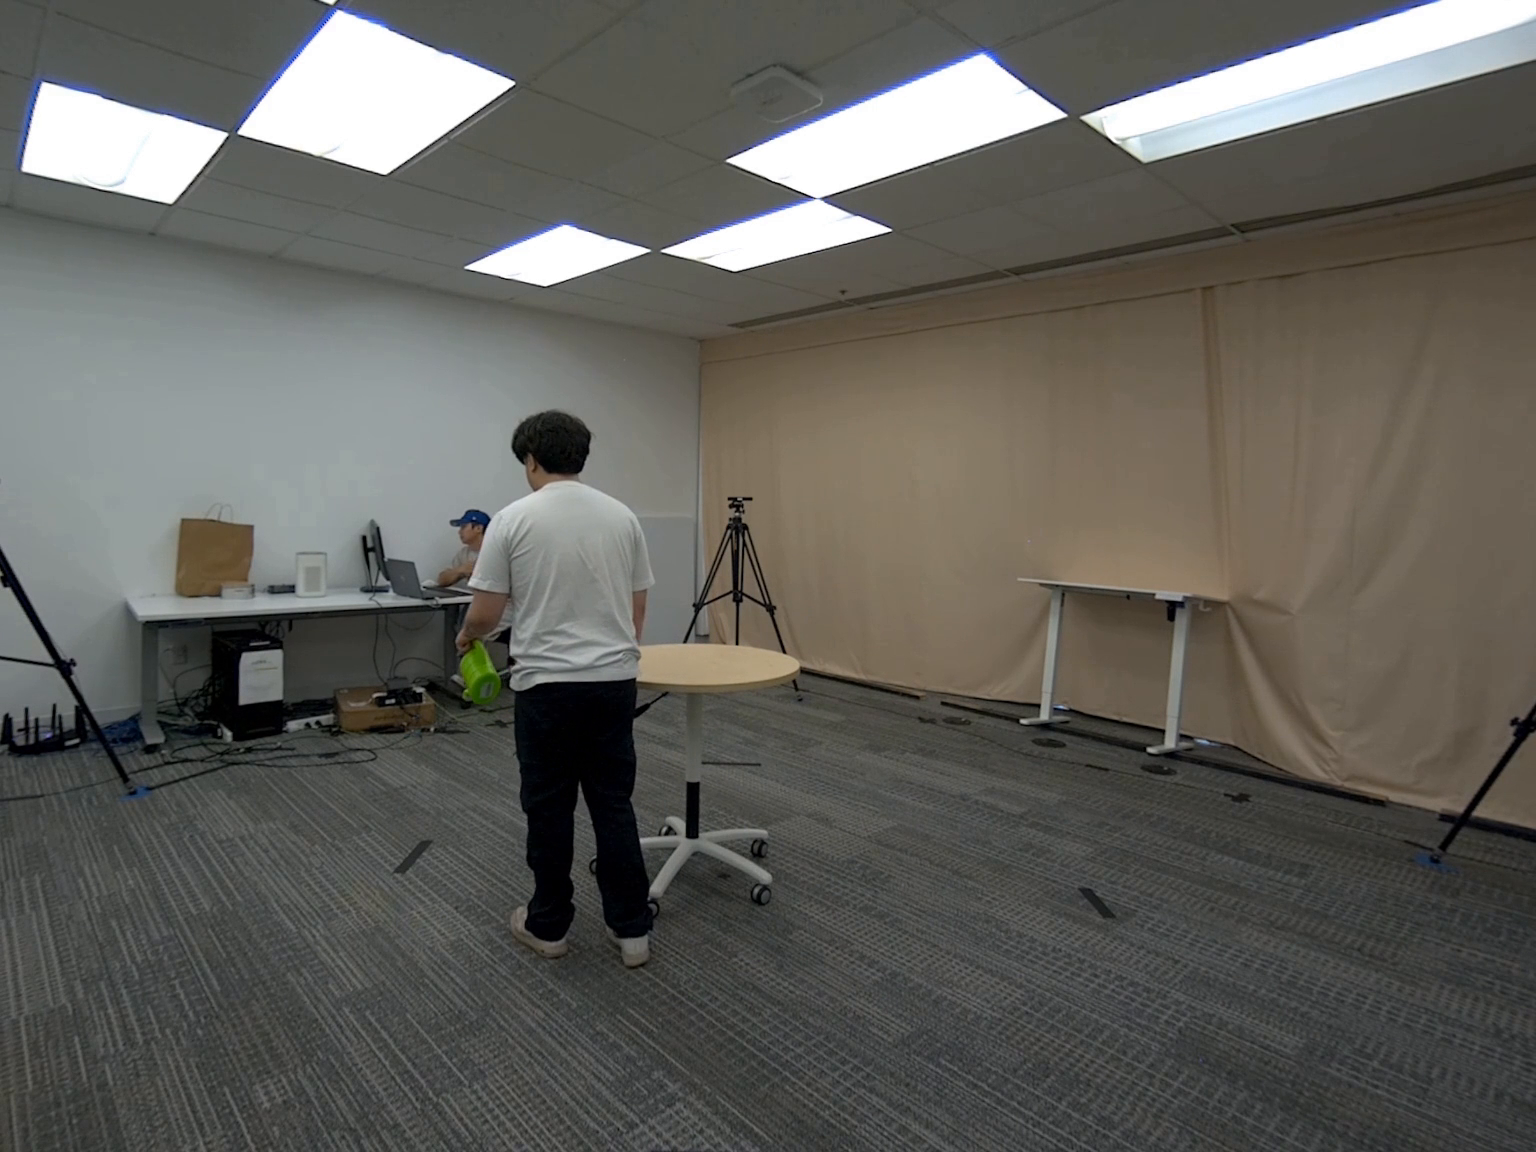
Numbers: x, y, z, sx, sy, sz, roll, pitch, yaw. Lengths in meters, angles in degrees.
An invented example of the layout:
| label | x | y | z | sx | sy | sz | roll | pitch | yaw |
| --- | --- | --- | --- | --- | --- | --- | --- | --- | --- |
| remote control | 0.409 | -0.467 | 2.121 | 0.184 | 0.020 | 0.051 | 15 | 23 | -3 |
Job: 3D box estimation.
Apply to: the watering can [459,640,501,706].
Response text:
| label | x | y | z | sx | sy | sz | roll | pitch | yaw |
| --- | --- | --- | --- | --- | --- | --- | --- | --- | --- |
| watering can | -0.933 | 0.342 | 2.725 | 0.097 | 0.273 | 0.182 | -16 | 43 | -26 |
